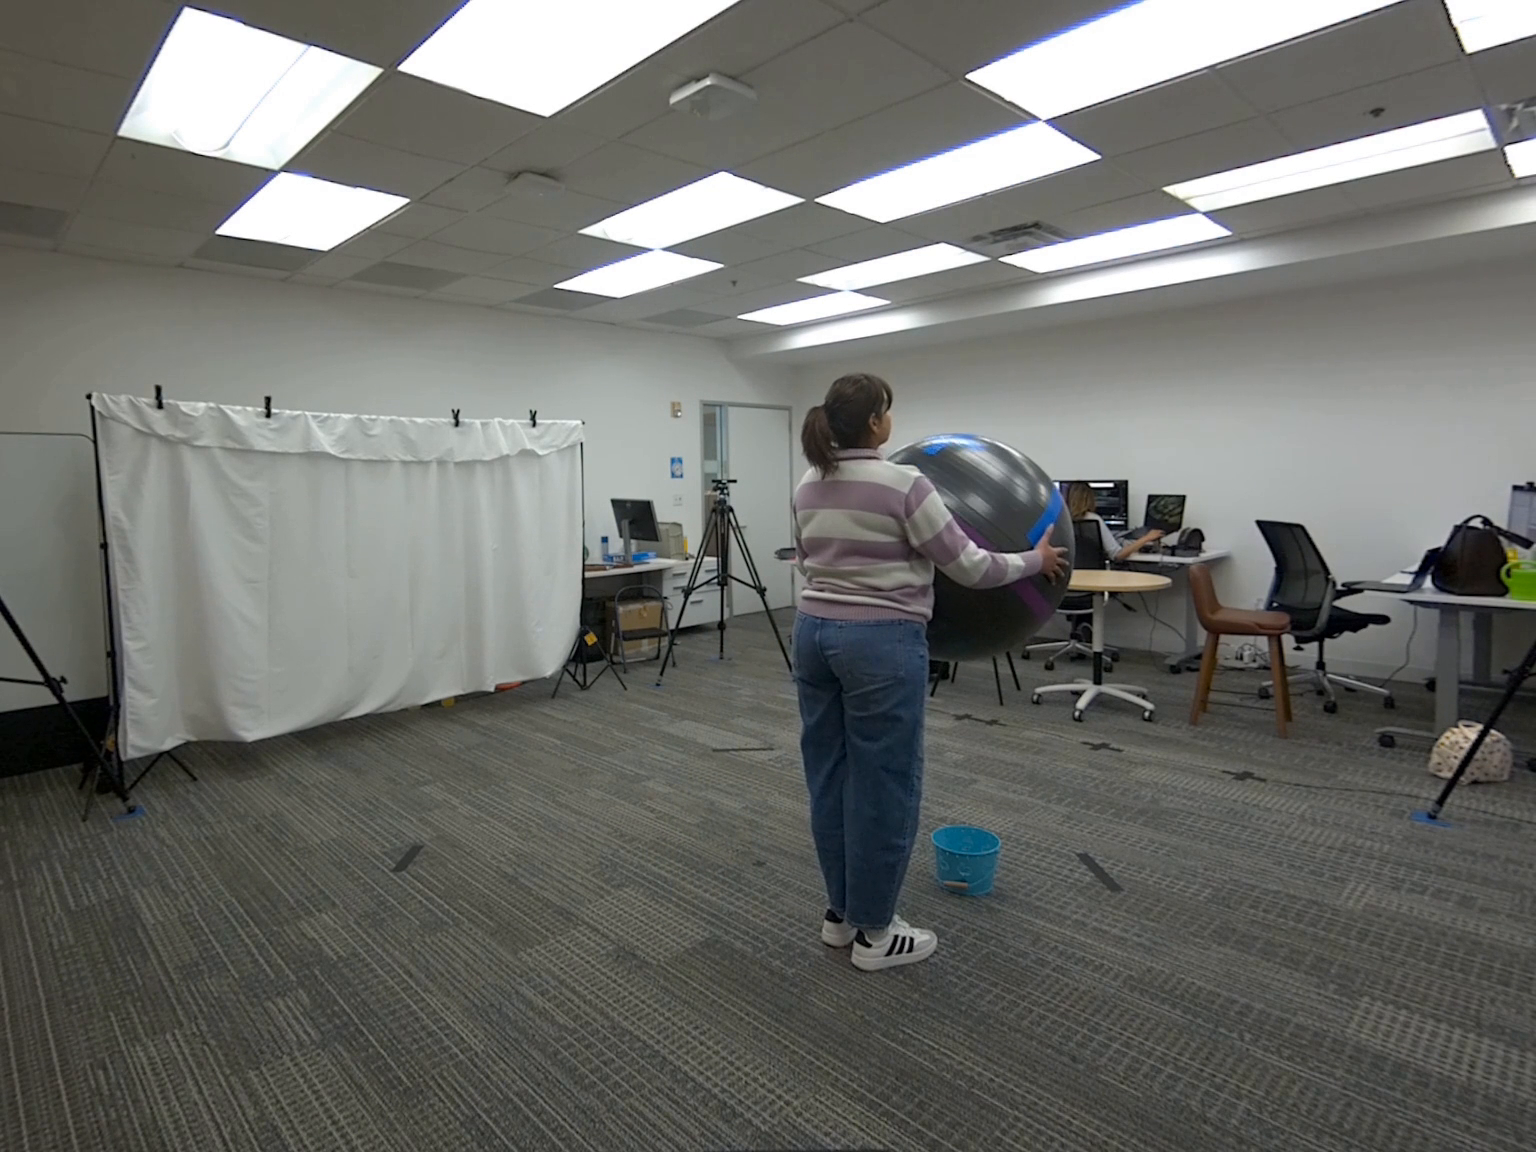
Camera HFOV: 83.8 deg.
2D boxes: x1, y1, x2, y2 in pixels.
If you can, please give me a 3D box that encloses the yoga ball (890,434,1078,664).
[{"bbox_3d":[0.648,-0.094,2.869,0.757,0.755,0.762,-1,5,-2],"label":"yoga ball"}]
